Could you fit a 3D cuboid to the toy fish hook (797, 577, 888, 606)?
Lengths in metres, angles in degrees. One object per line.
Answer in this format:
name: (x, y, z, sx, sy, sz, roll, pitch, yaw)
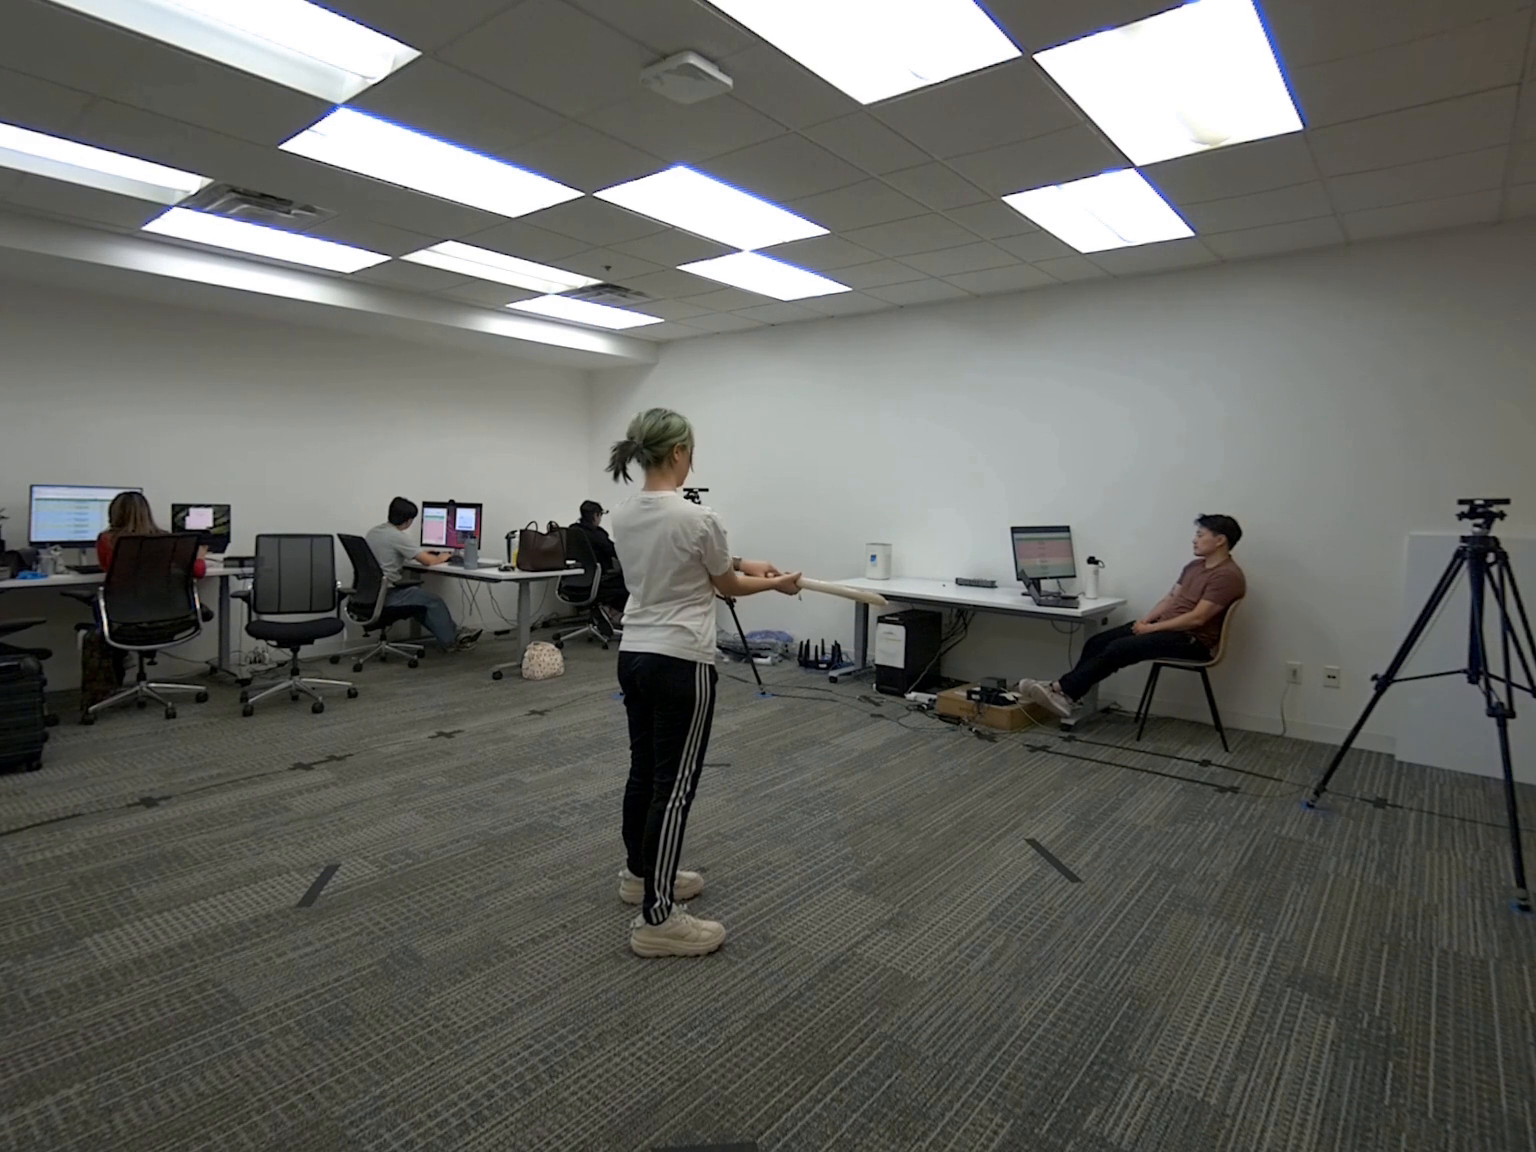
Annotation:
toy fish hook: (0.144, 0.040, 2.980, 0.520, 0.048, 0.218, 11, -6, 22)
